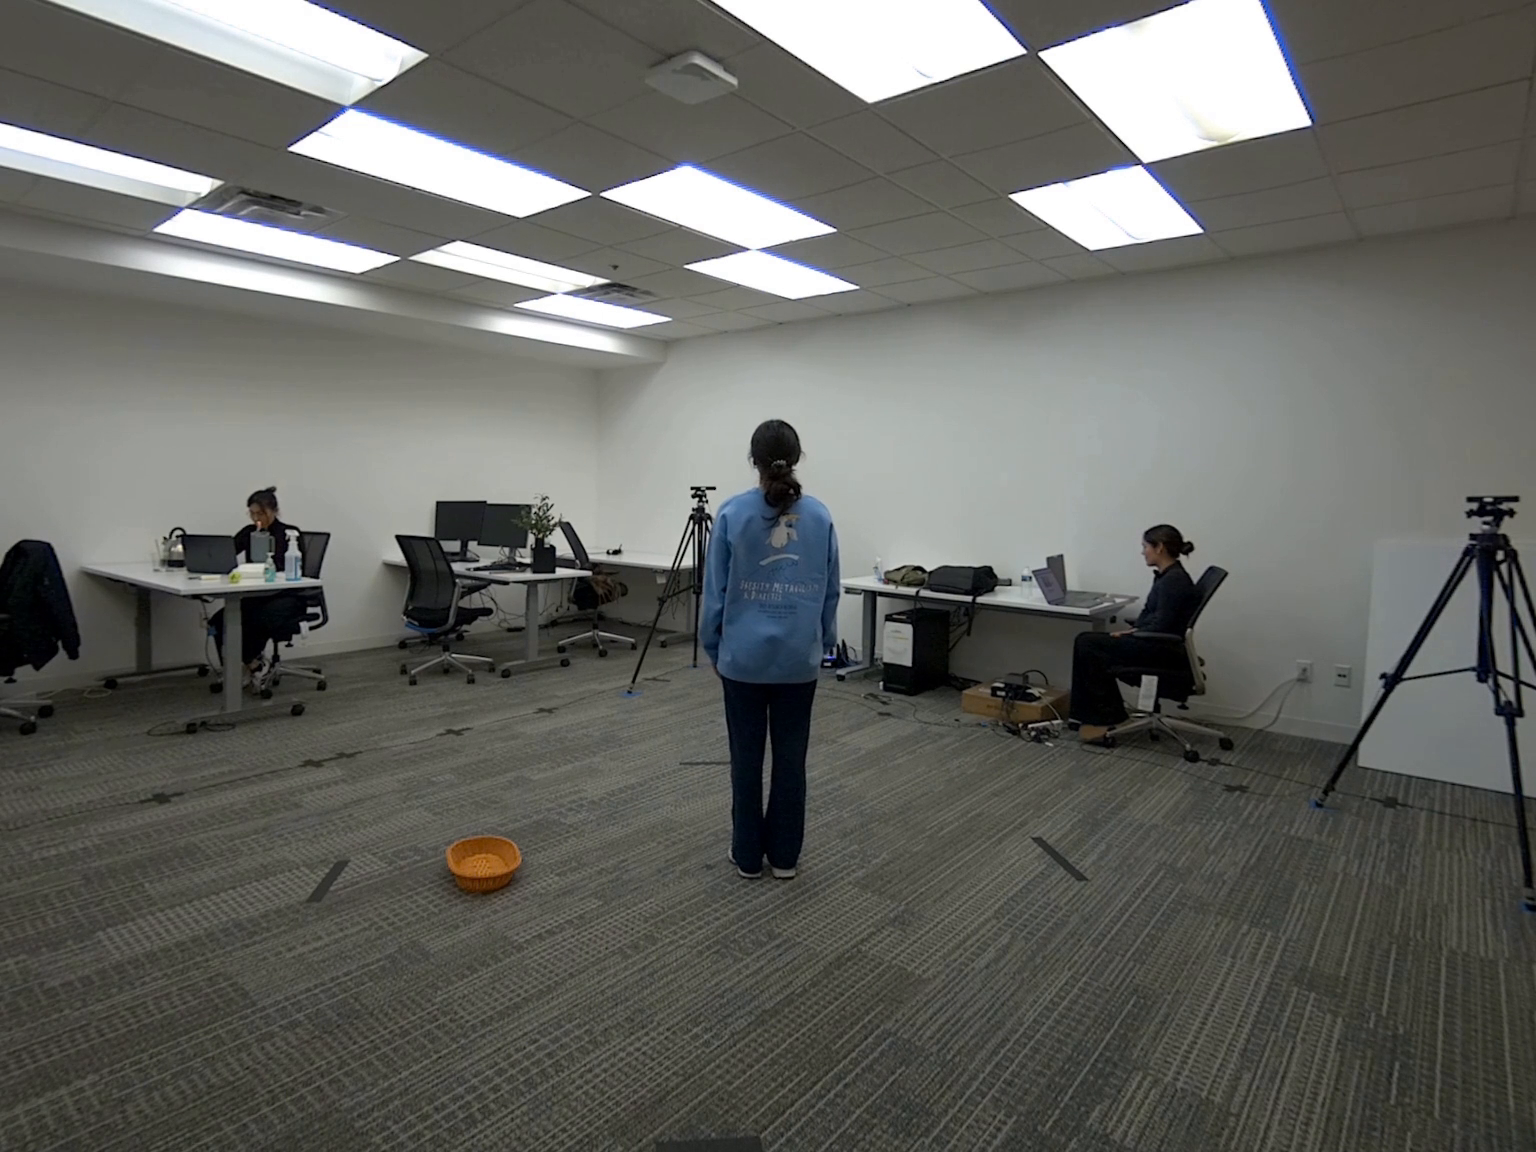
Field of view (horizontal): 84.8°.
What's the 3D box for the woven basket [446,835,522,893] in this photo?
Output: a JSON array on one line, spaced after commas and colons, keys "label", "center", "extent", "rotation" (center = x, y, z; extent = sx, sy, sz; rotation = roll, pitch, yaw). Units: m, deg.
[{"label": "woven basket", "center": [-1.023, 1.024, 3.028], "extent": [0.246, 0.073, 0.360], "rotation": [-1, 6, -27]}]
